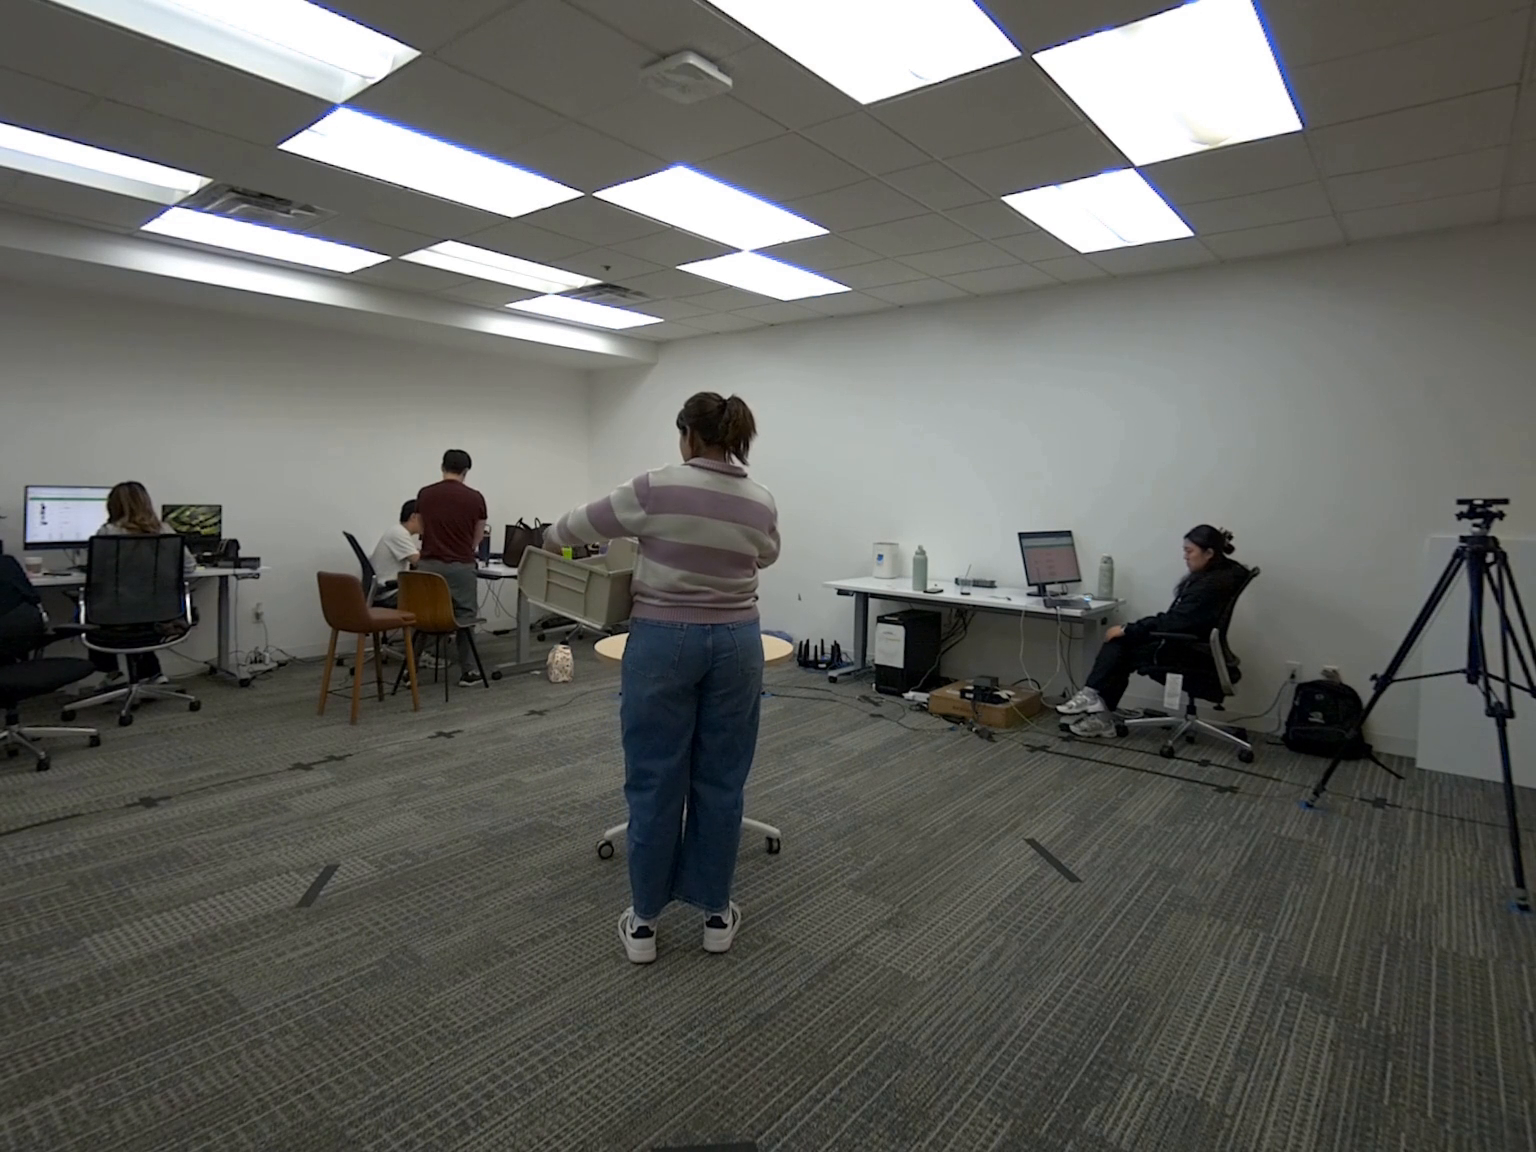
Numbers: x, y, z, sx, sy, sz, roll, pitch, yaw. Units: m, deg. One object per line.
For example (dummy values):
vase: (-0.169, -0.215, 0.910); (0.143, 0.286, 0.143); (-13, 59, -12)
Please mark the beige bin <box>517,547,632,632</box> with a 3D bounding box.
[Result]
beige bin: (-0.531, -0.001, 2.740); (0.390, 0.187, 0.412); (18, 14, 29)
